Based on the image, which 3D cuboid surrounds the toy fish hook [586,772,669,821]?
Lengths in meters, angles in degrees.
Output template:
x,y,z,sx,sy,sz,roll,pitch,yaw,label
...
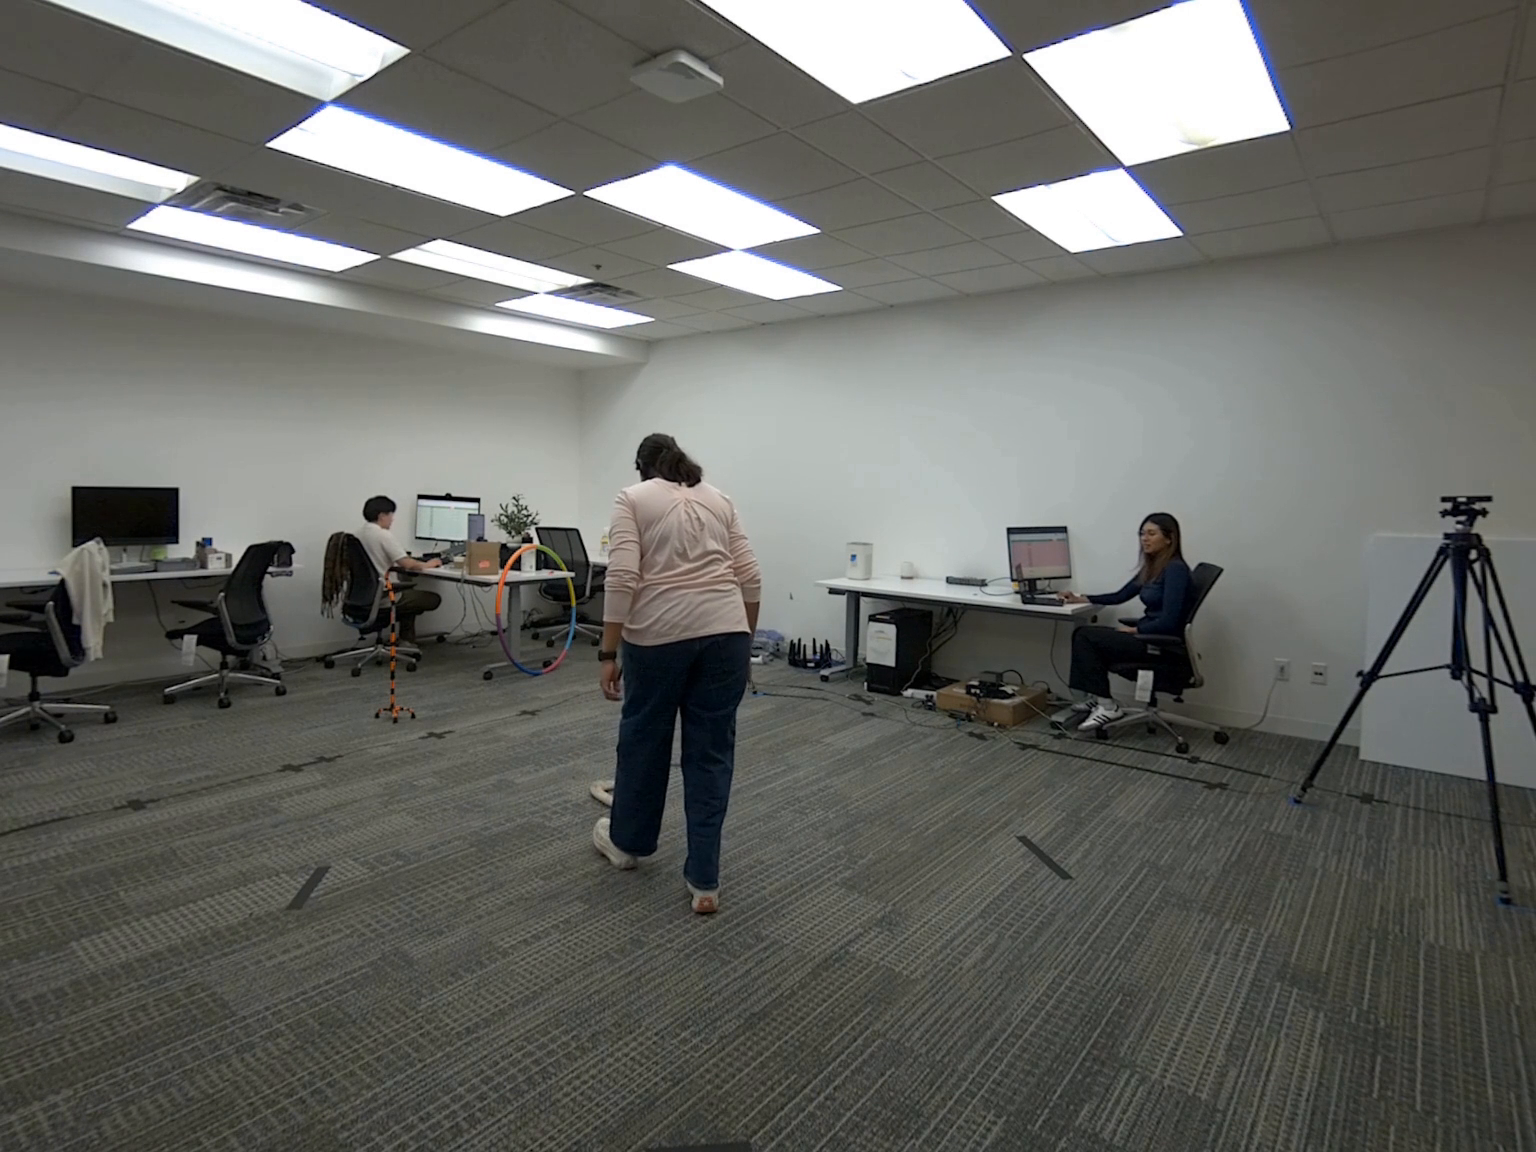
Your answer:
x,y,z,sx,sy,sz,roll,pitch,yaw,label
-0.635,0.974,3.721,0.219,0.048,0.521,-2,7,-25,toy fish hook
